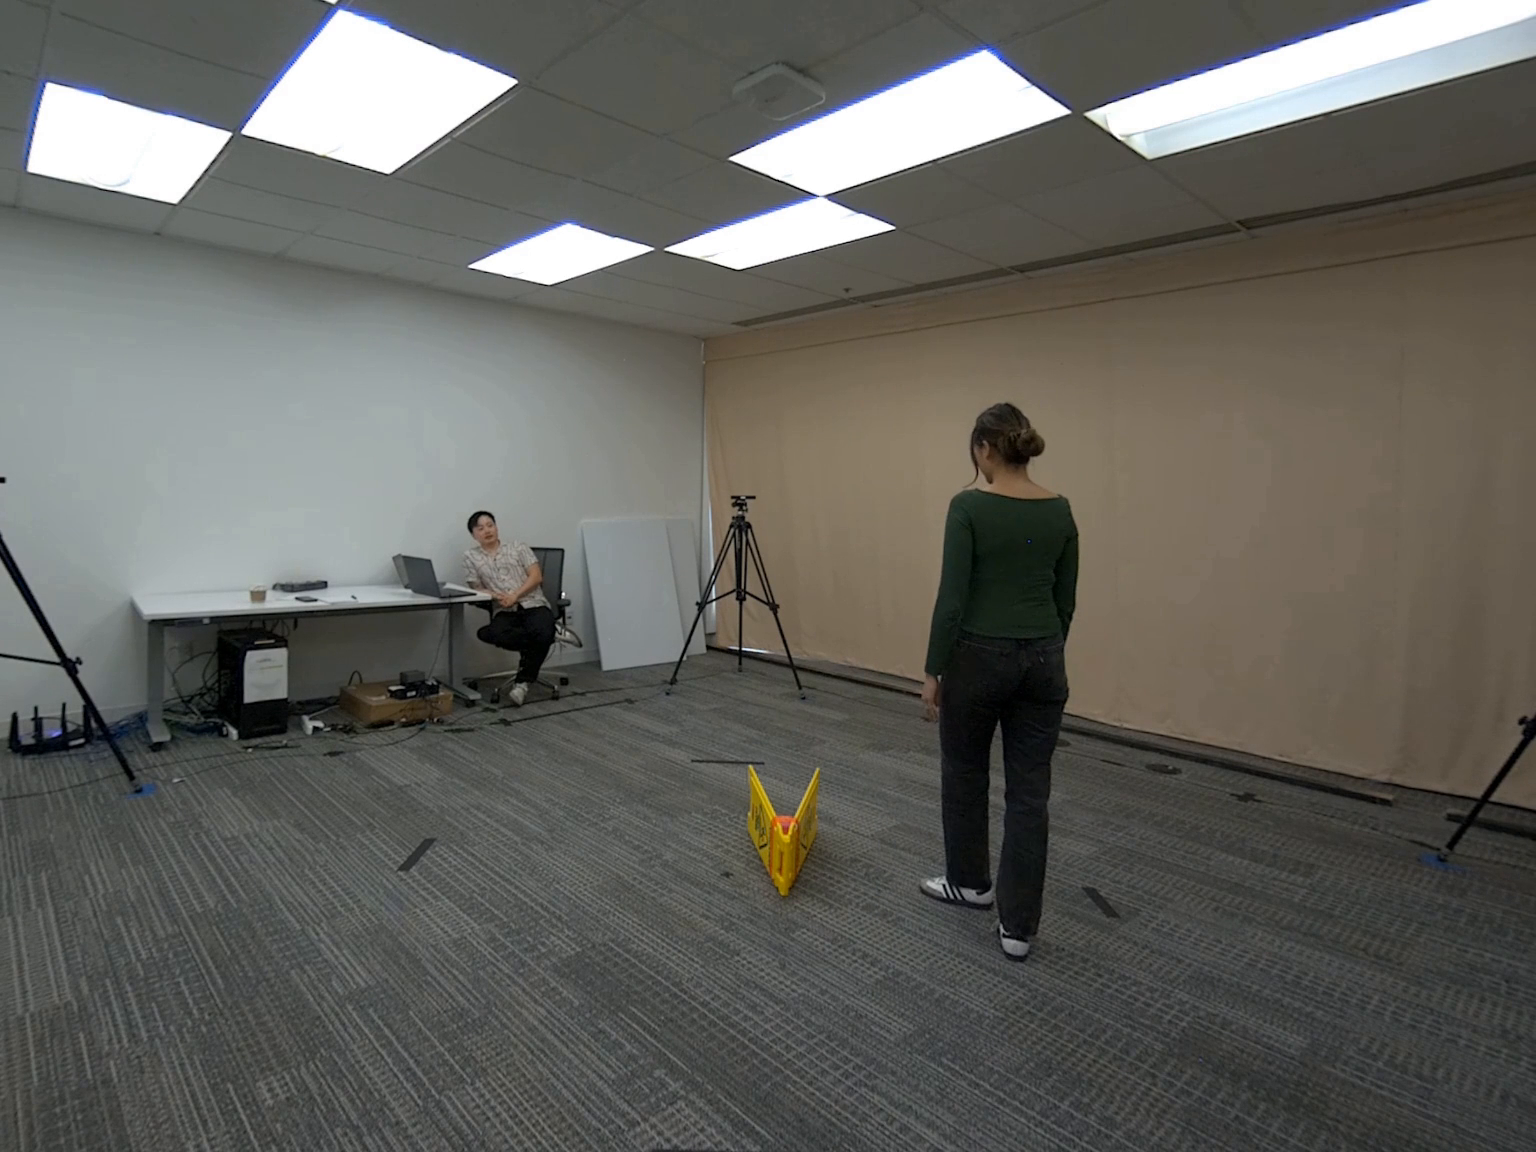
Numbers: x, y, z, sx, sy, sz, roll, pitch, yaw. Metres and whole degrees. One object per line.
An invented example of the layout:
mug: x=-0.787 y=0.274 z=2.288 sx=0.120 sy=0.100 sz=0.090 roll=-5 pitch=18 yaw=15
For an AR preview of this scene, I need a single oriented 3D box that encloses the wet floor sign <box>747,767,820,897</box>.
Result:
wet floor sign: x=0.056 y=0.965 z=3.196 sx=0.290 sy=0.281 sz=0.648 roll=2 pitch=7 yaw=0
